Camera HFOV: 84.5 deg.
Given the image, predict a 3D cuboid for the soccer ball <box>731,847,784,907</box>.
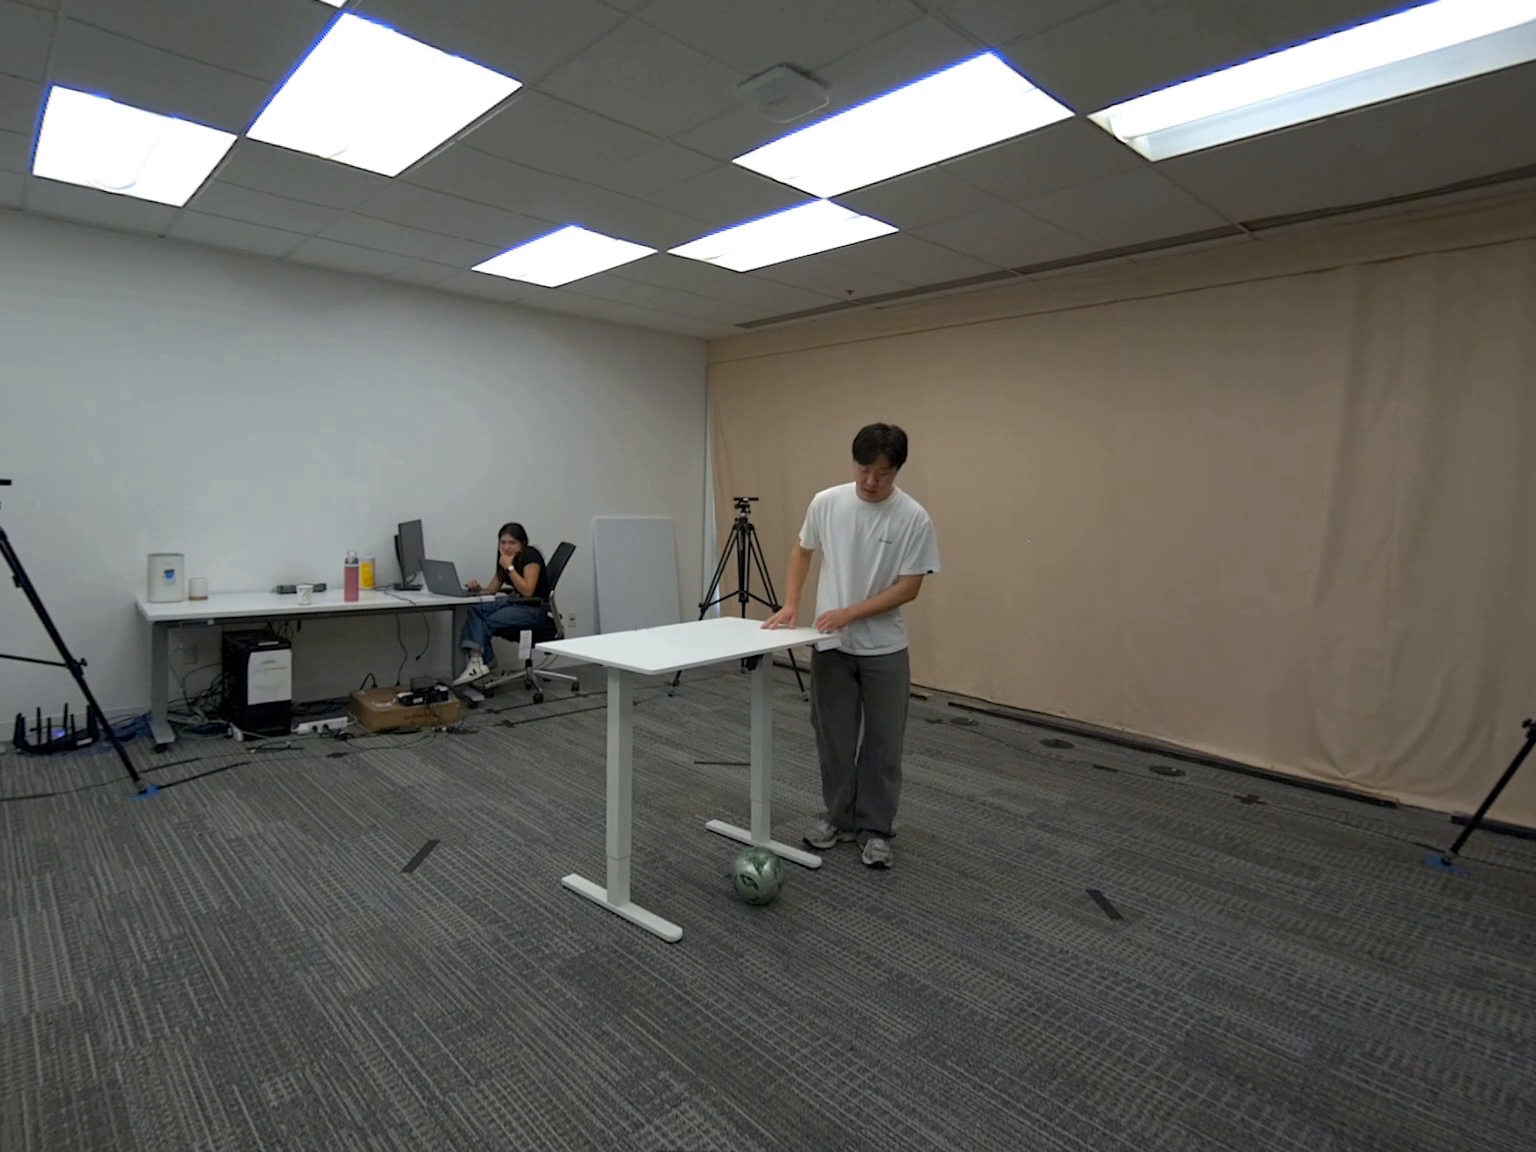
[{"bbox_3d":[-0.043,1.040,2.902,0.187,0.187,0.188,1,4,-1],"label":"soccer ball"}]
